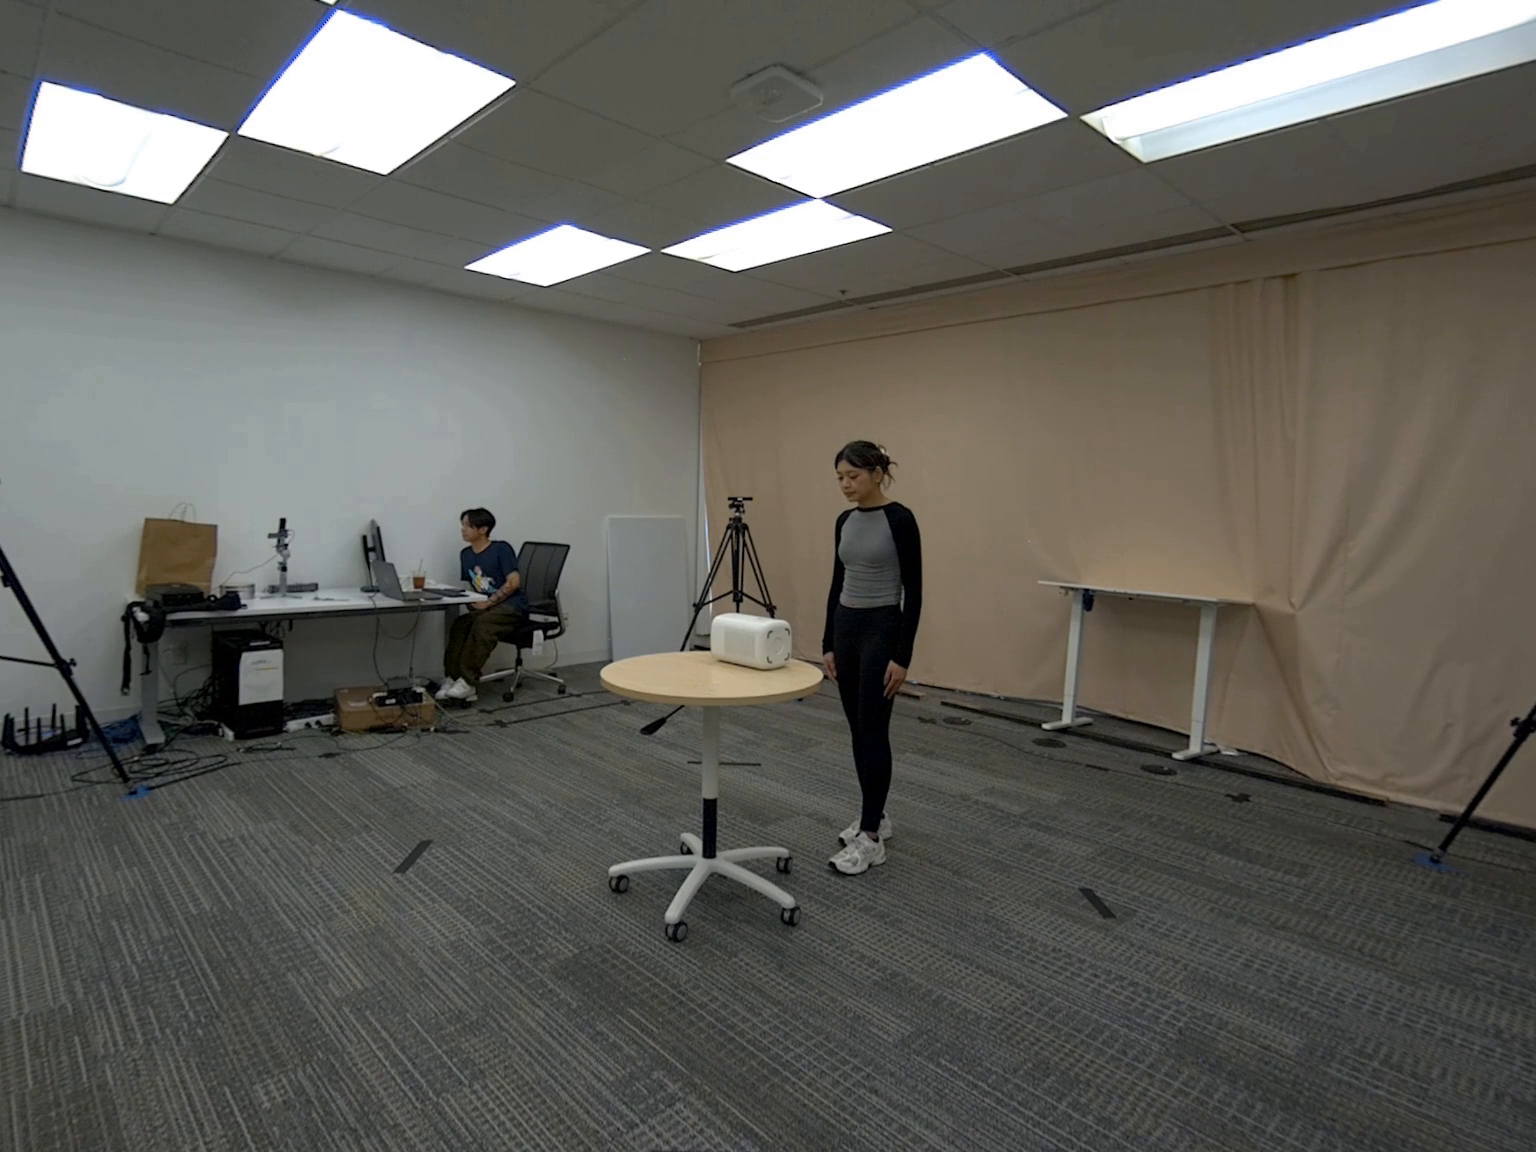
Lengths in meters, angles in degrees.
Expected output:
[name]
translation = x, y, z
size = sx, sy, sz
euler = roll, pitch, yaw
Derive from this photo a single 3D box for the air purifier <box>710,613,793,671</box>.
[air purifier]
translation = -0.063, 0.232, 3.035
size = 0.167, 0.171, 0.272
euler = -3, 6, -45
